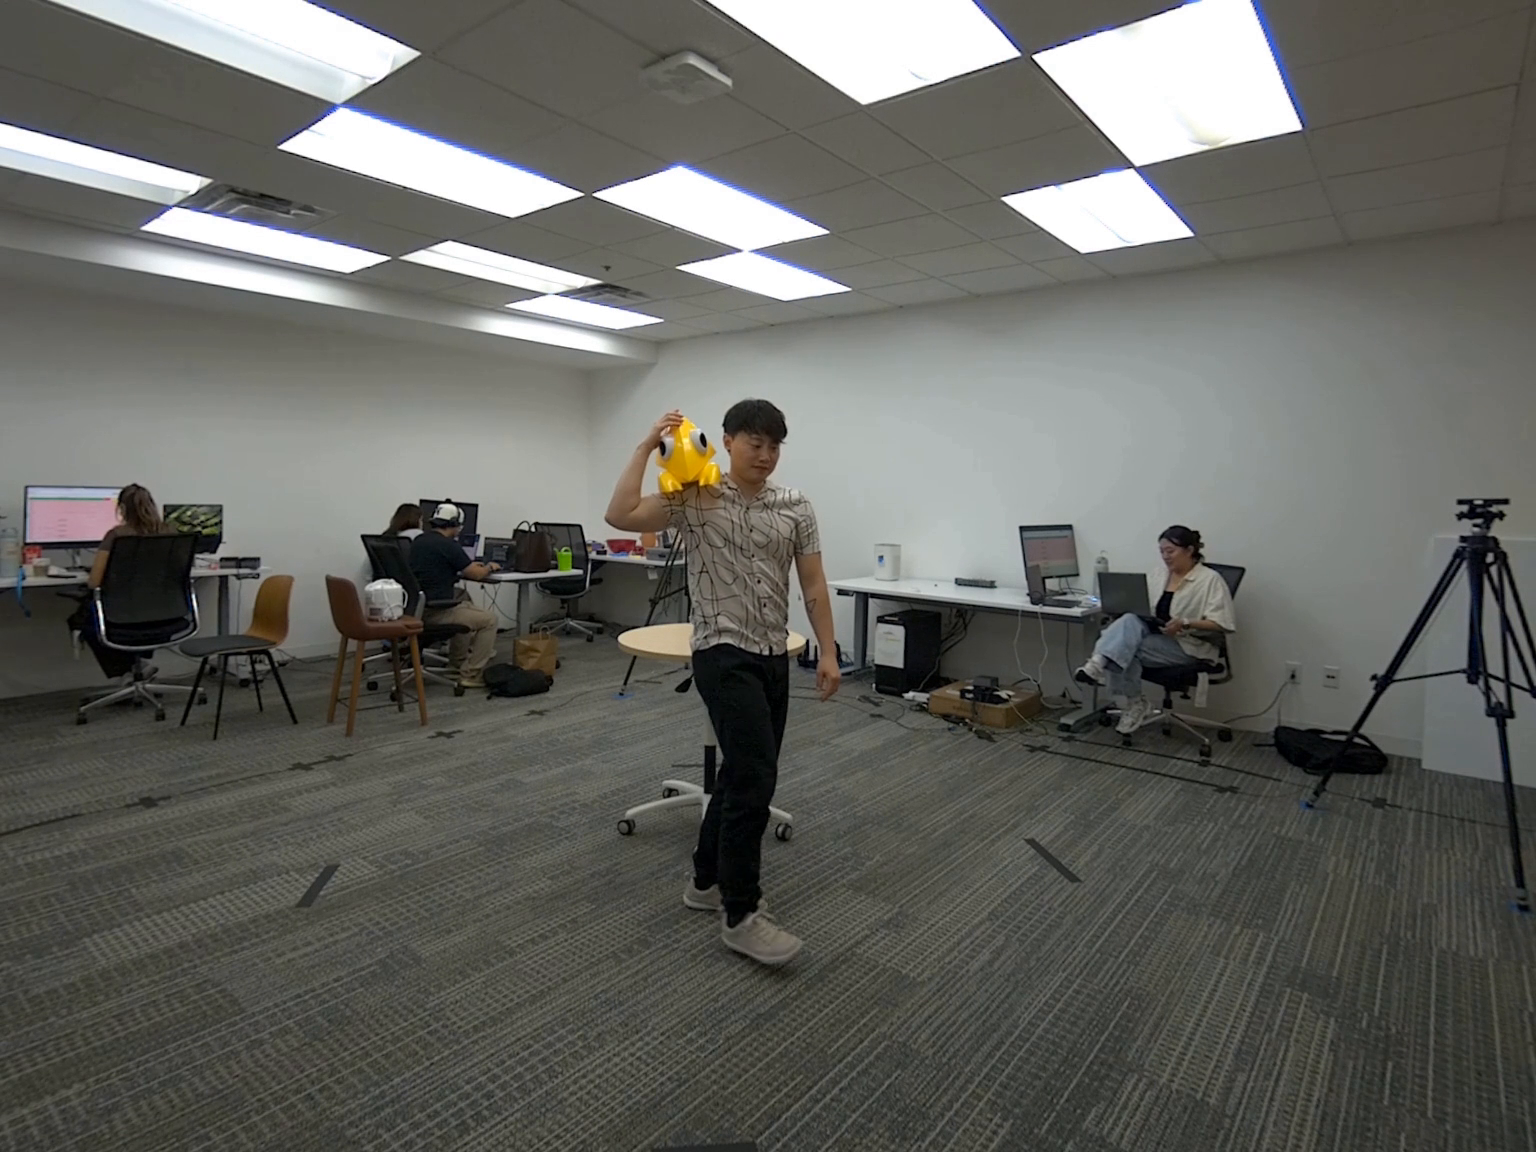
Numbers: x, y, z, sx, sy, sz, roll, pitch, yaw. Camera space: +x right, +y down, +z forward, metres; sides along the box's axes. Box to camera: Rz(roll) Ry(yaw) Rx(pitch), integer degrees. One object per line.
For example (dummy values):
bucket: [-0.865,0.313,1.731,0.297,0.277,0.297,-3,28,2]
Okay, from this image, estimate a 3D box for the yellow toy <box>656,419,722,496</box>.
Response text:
yellow toy: [-0.269,-0.397,2.641,0.204,0.228,0.196,-10,12,-2]
